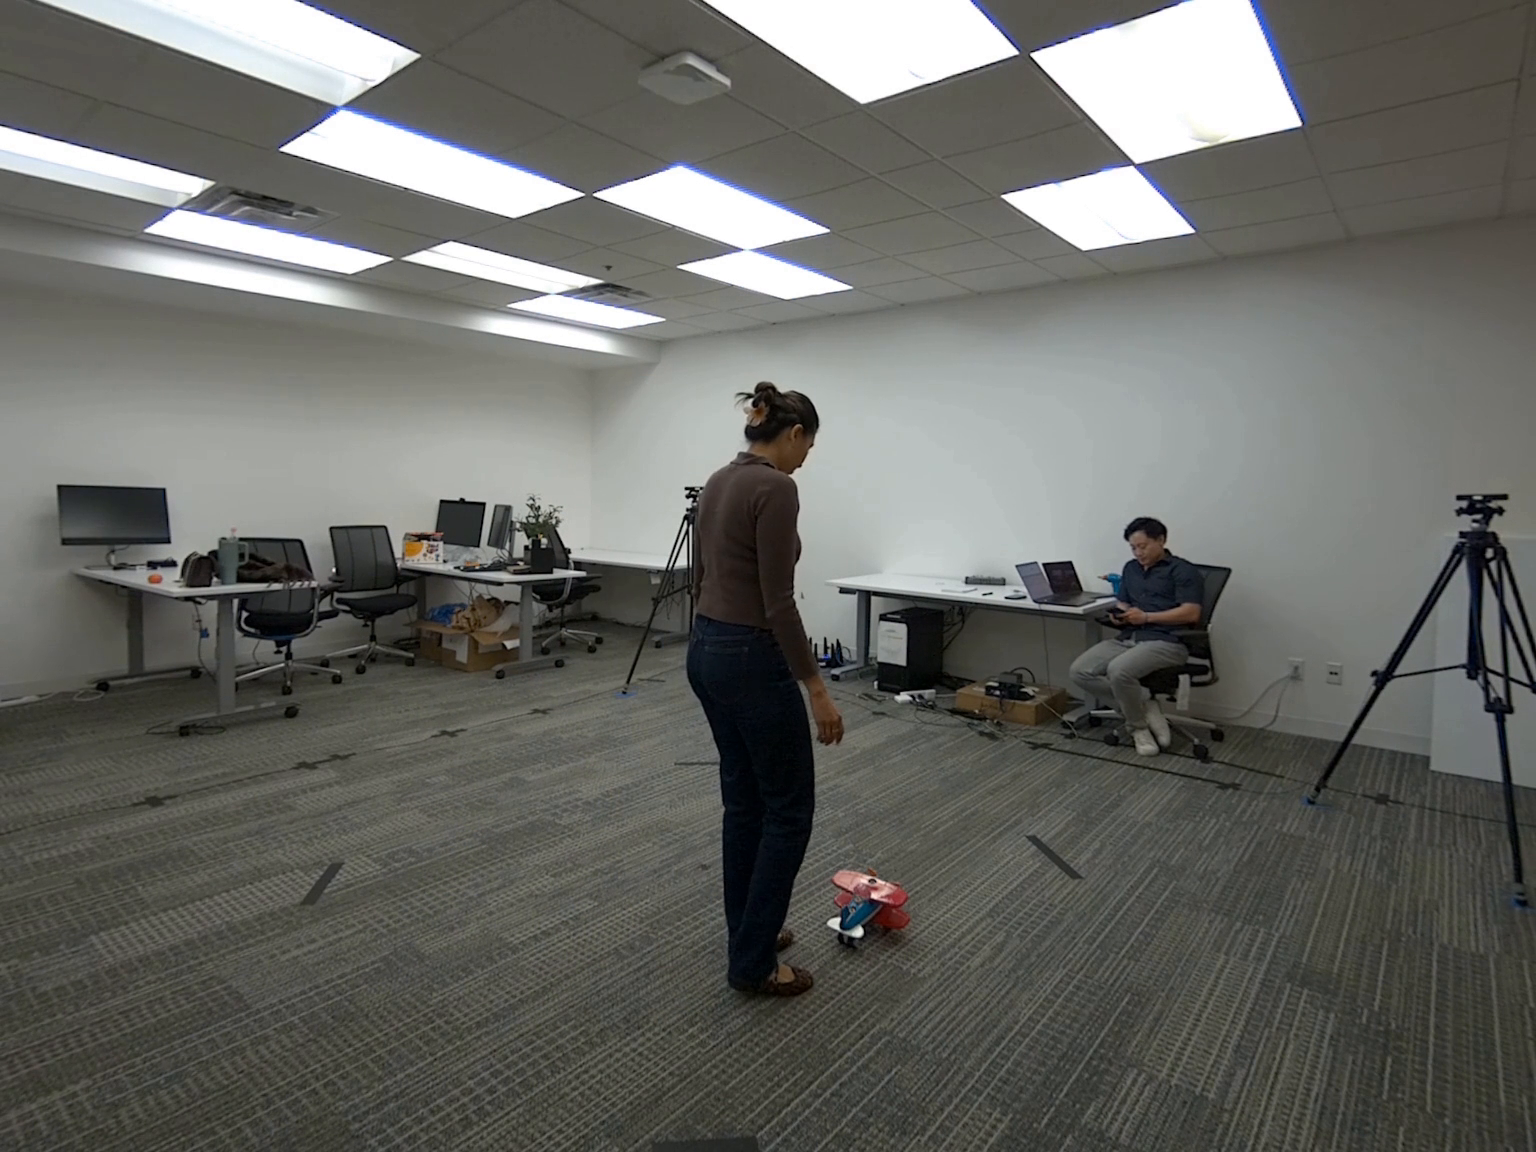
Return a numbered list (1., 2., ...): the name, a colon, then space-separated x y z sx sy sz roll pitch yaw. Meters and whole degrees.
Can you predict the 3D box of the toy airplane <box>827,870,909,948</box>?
1. toy airplane: 0.311 1.043 2.659 0.254 0.156 0.256 3 4 11
